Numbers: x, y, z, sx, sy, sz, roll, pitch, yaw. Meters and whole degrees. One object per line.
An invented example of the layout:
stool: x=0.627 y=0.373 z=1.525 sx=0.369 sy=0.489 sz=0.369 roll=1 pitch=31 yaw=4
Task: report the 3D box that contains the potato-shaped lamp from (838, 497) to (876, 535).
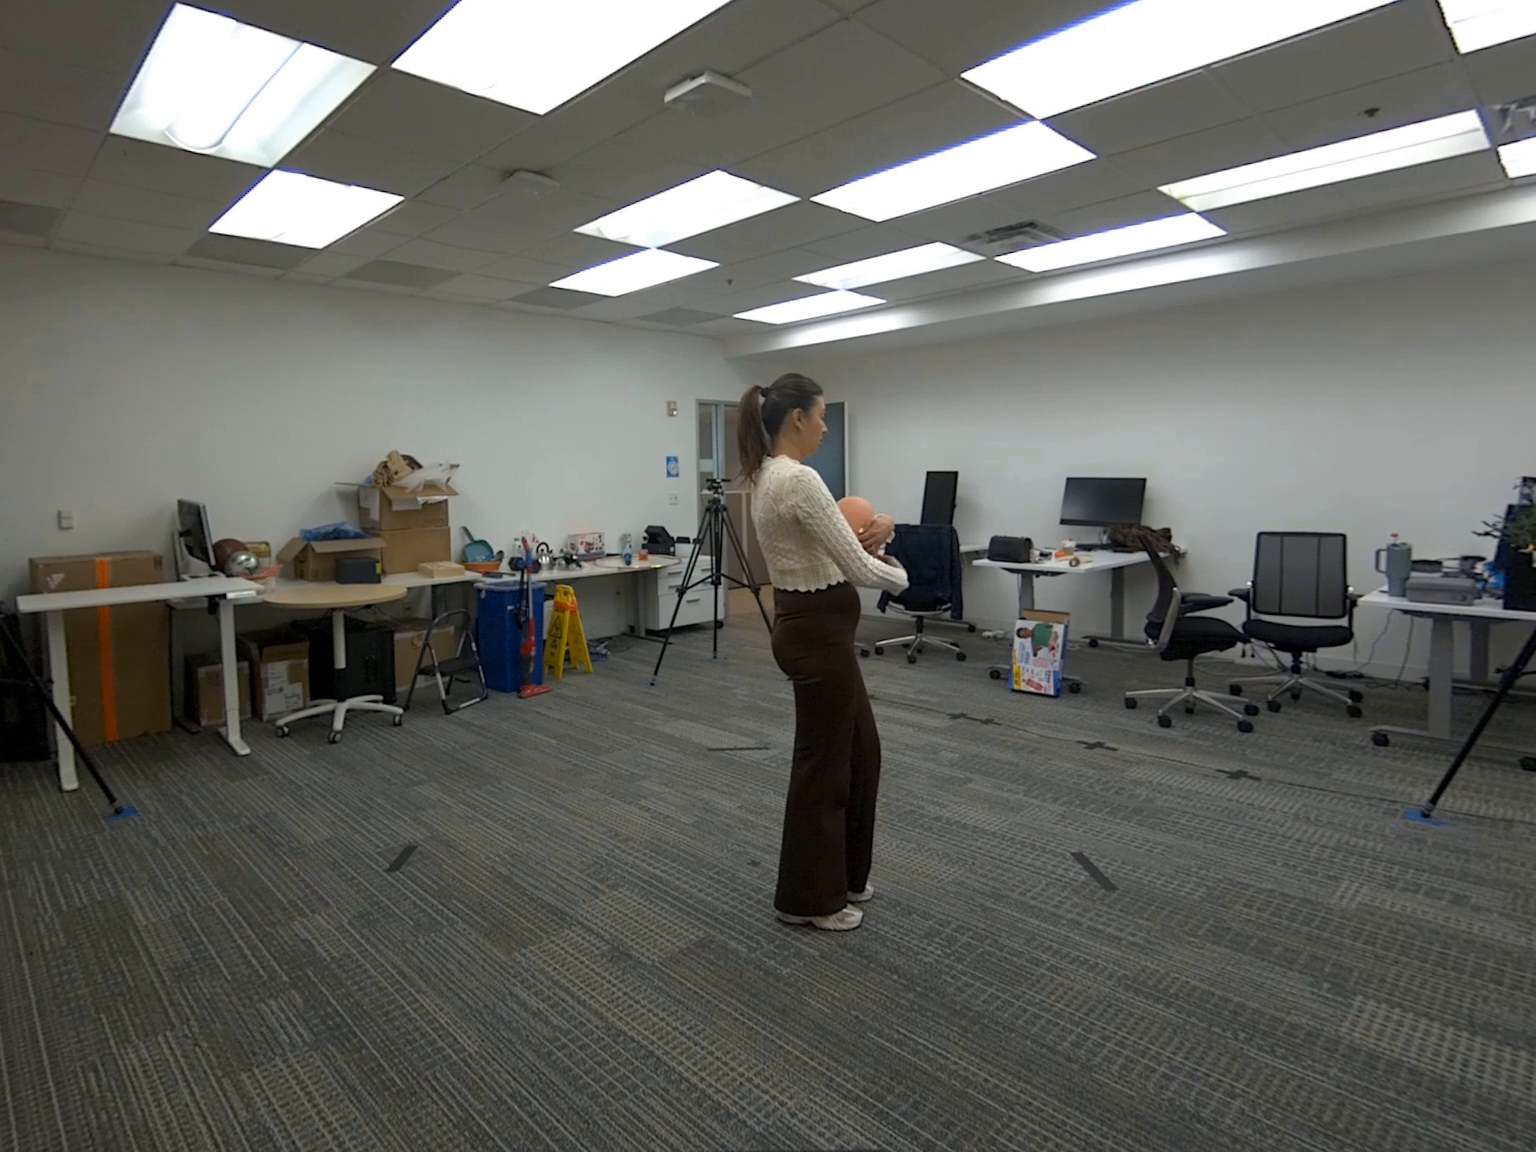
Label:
potato-shaped lamp: x=0.237 y=-0.143 z=2.653 sx=0.169 sy=0.198 sz=0.166 roll=1 pitch=0 yaw=38
